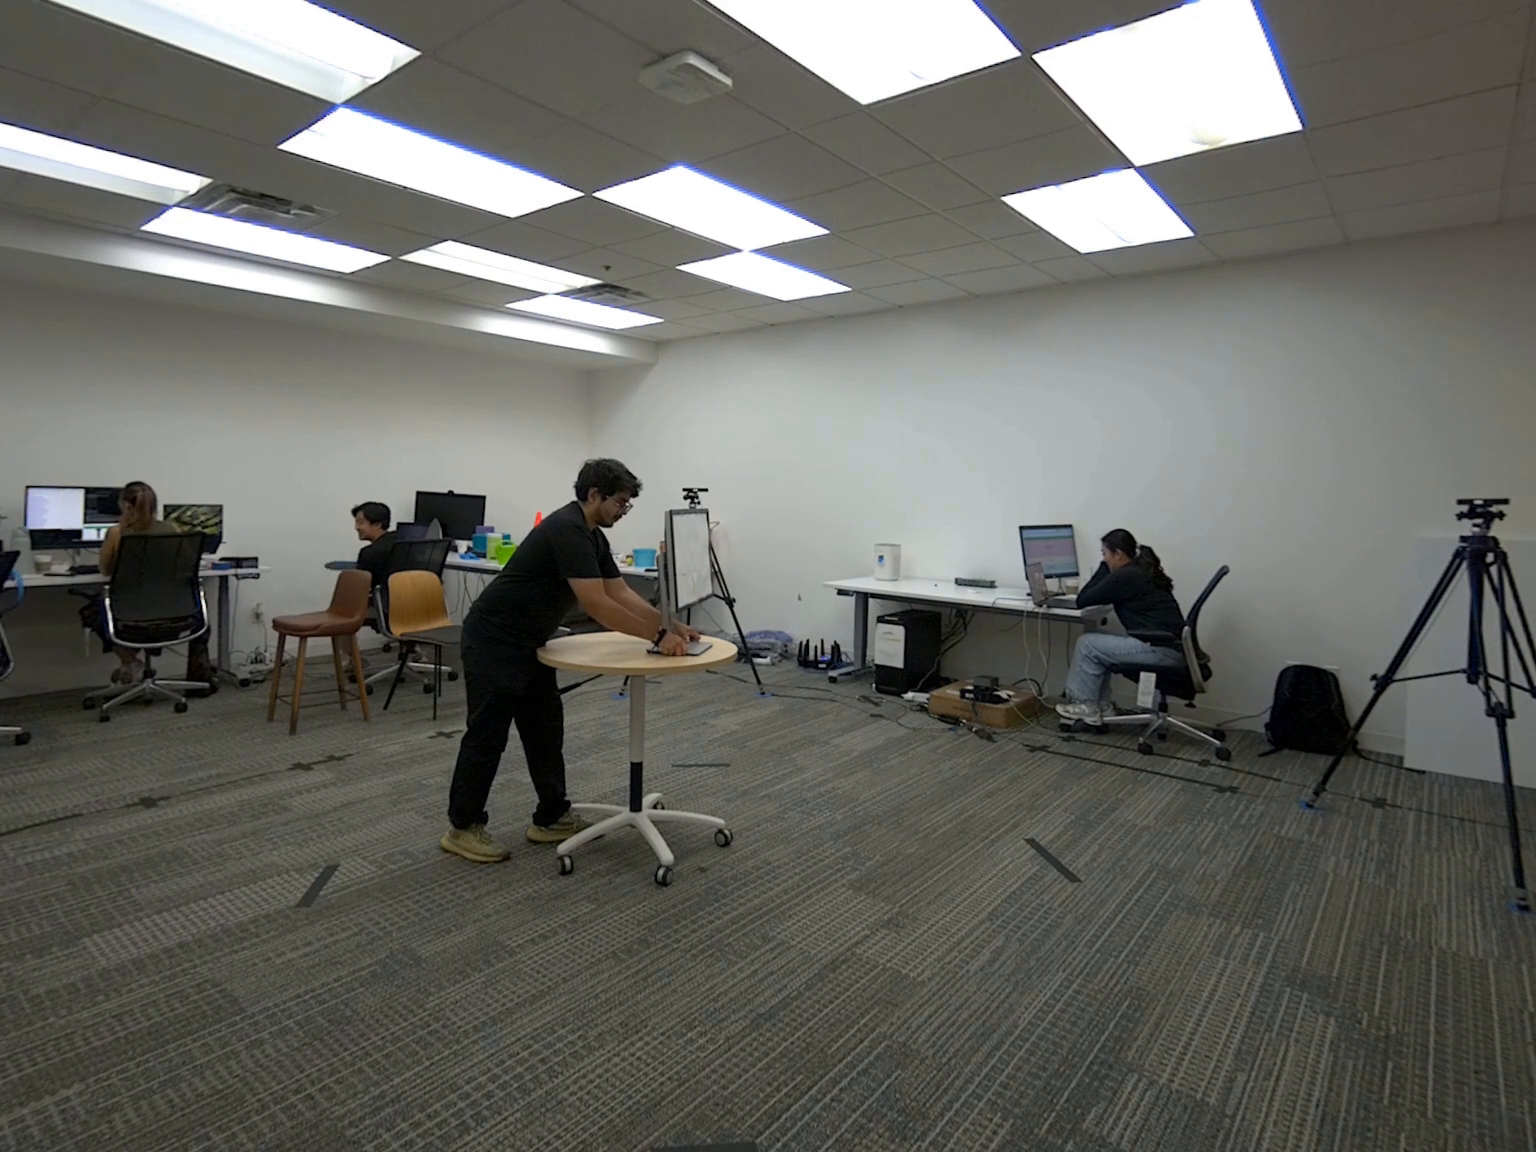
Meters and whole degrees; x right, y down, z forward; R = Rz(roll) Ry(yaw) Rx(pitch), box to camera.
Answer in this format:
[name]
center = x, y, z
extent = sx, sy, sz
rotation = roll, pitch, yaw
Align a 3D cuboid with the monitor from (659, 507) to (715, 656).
[monitor]
center = -0.367, 0.014, 3.238
extent = 0.213, 0.553, 0.560
rotation = 1, 3, 10
